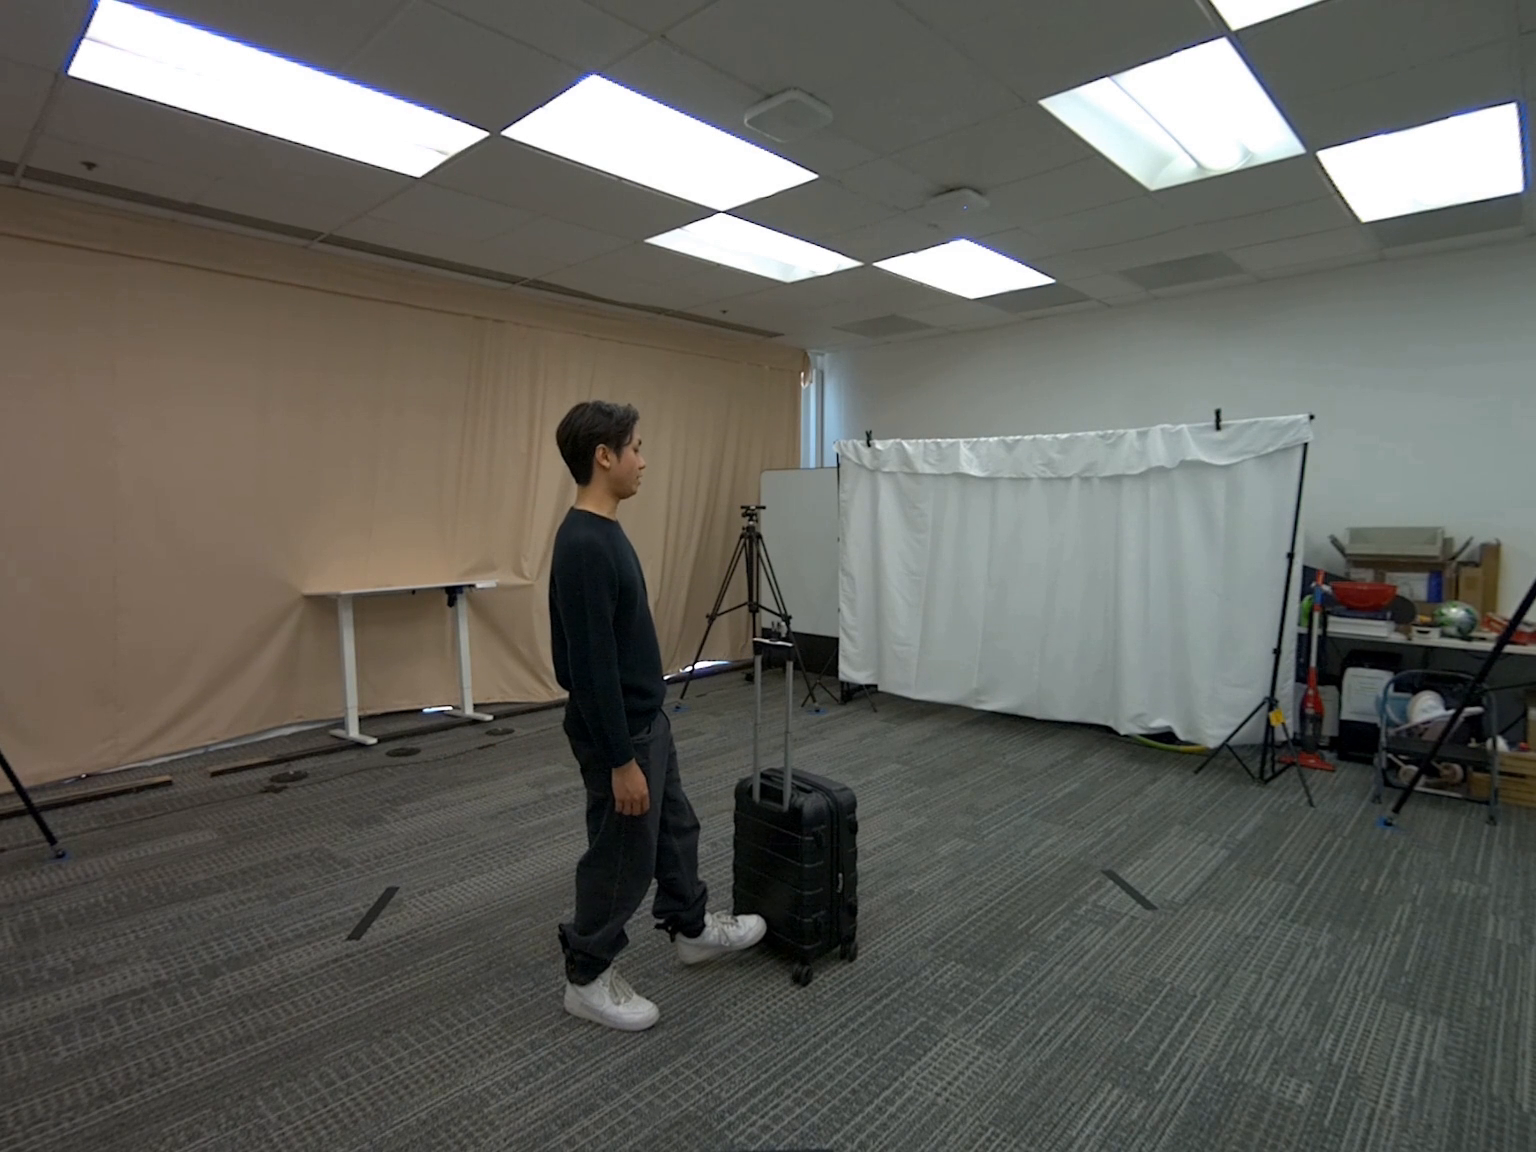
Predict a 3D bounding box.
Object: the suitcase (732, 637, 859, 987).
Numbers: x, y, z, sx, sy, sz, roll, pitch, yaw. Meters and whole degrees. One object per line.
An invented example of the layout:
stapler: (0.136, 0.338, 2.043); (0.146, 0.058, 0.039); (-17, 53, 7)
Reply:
suitcase: (0.091, 0.695, 2.630); (0.249, 0.978, 0.397); (1, 1, -43)
